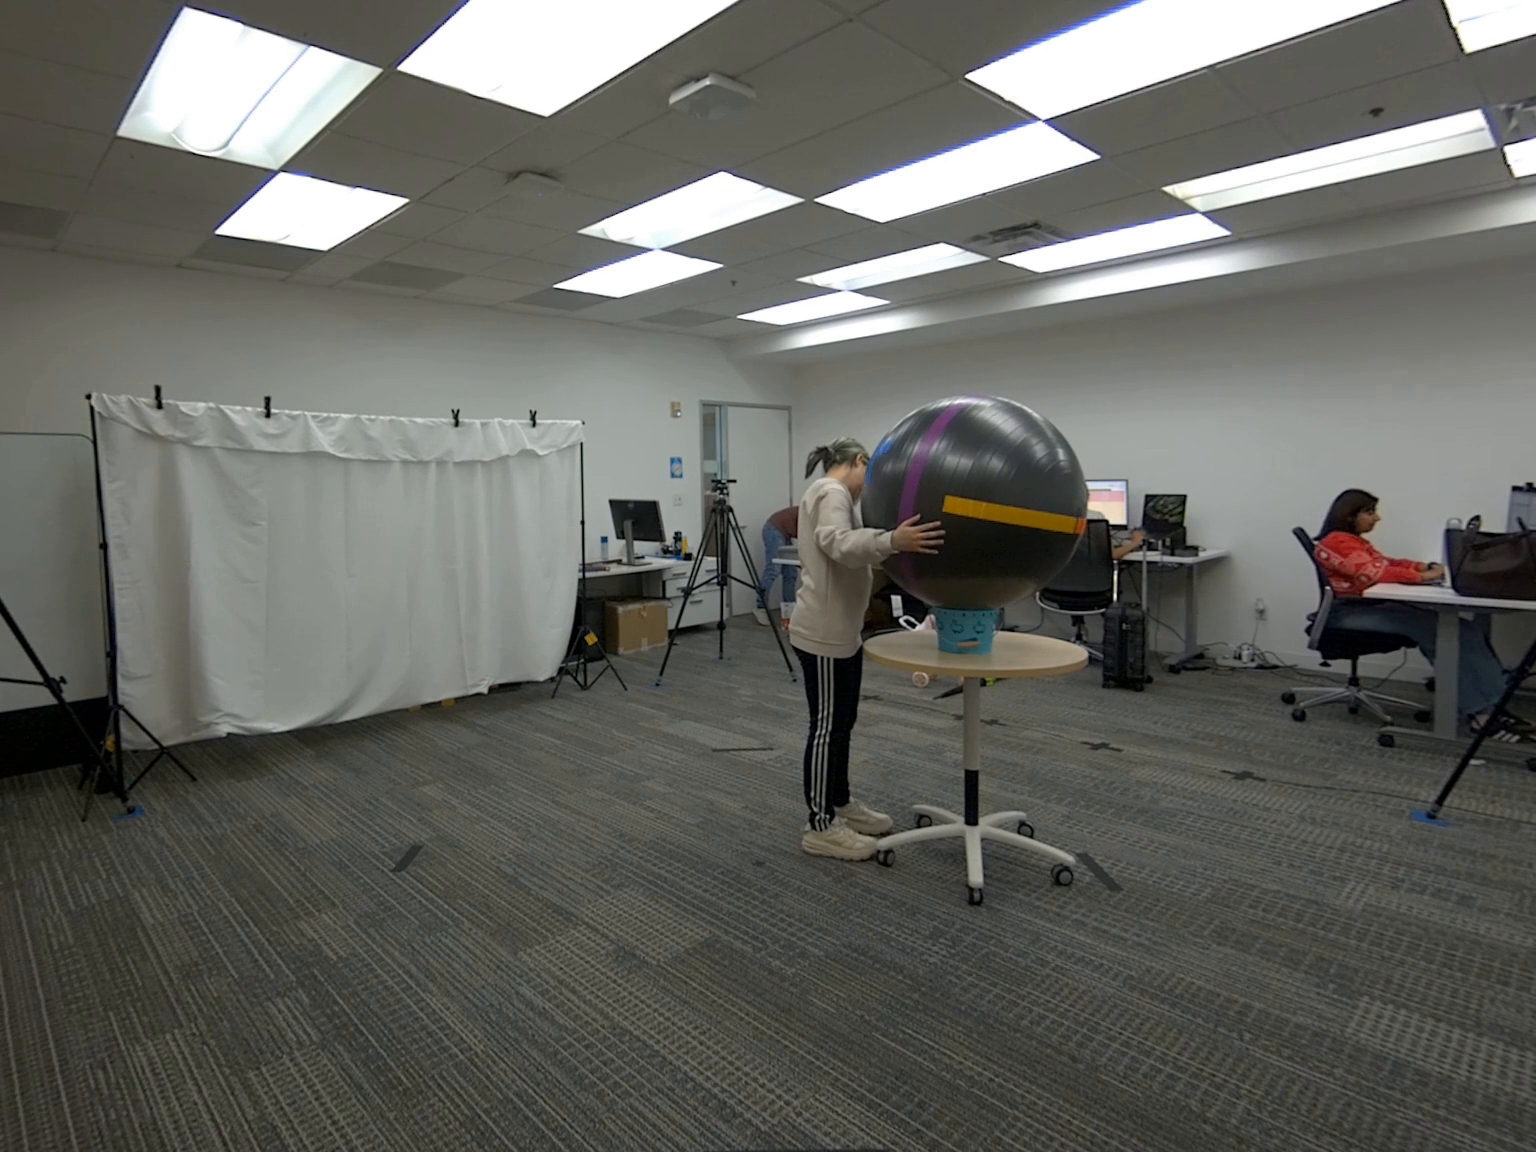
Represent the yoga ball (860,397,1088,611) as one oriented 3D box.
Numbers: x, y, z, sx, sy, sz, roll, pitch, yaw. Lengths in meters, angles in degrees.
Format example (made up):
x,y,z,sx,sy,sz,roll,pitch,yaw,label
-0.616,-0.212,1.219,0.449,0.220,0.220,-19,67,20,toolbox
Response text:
x,y,z,sx,sy,sz,roll,pitch,yaw,label
0.709,-0.249,2.983,0.757,0.755,0.762,-1,5,-2,yoga ball
